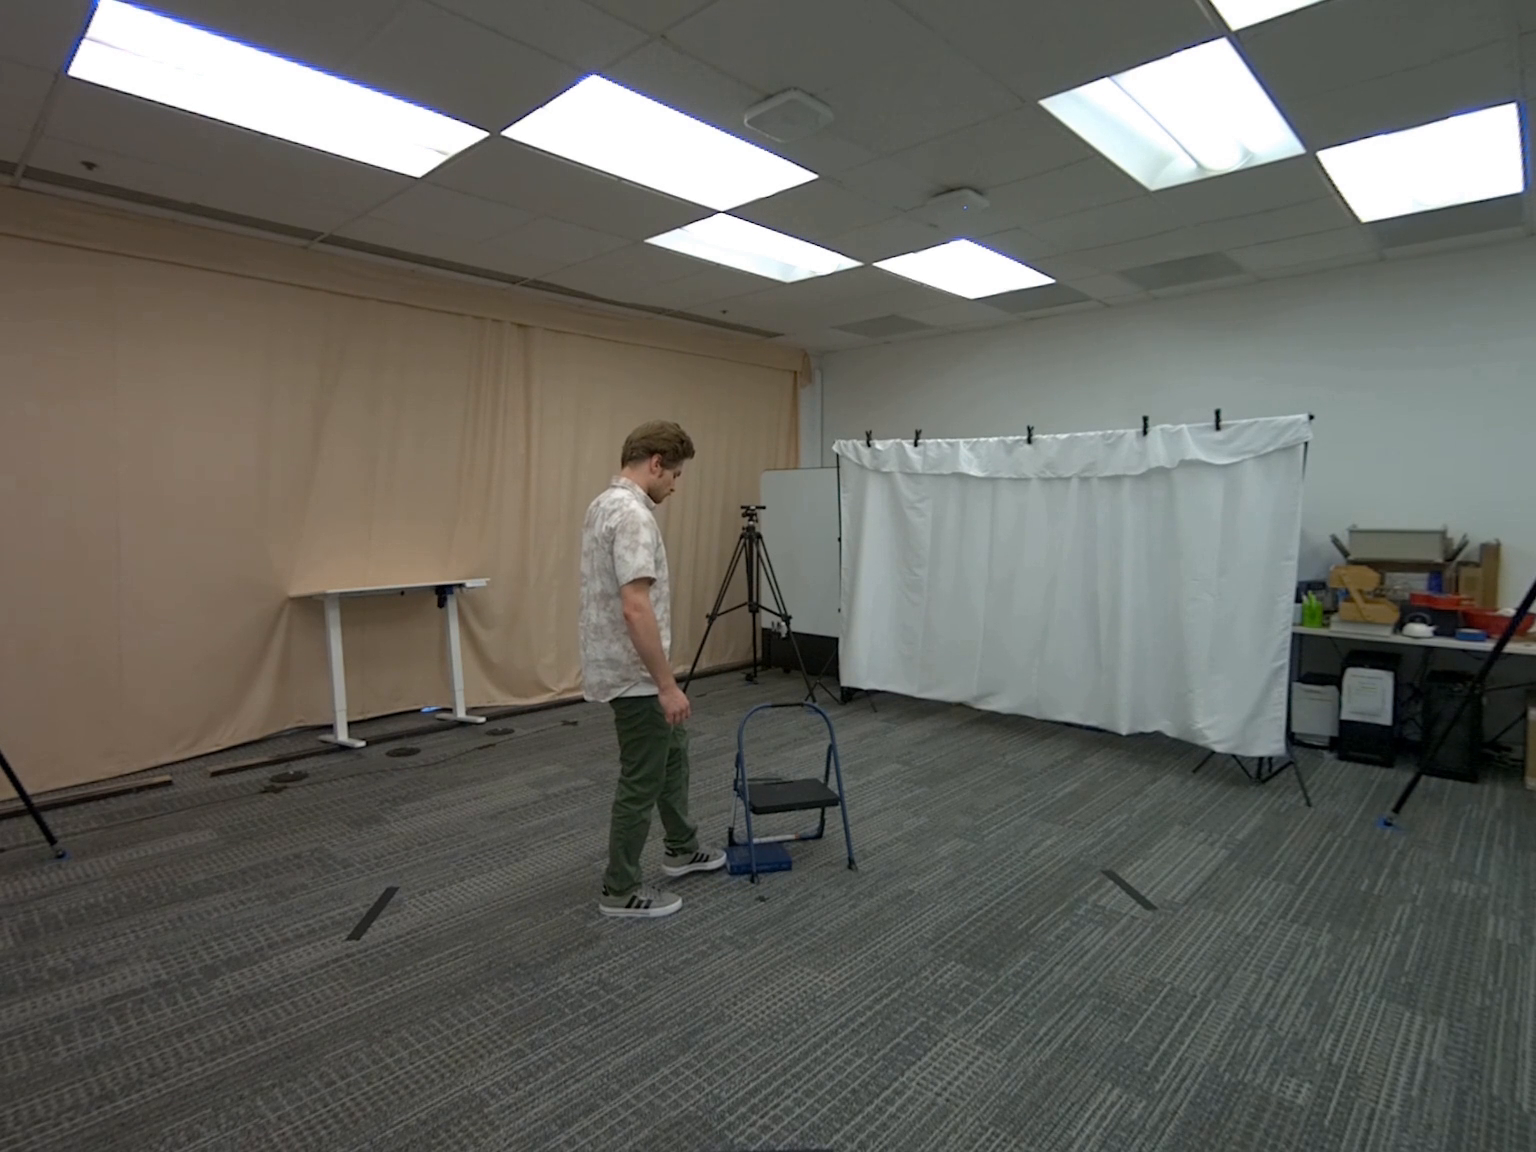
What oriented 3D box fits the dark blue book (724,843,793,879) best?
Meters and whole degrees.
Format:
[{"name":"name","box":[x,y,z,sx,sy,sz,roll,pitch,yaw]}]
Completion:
[{"name":"dark blue book","box":[-0.044,1.094,3.260,0.242,0.045,0.166,-3,5,-13]}]
